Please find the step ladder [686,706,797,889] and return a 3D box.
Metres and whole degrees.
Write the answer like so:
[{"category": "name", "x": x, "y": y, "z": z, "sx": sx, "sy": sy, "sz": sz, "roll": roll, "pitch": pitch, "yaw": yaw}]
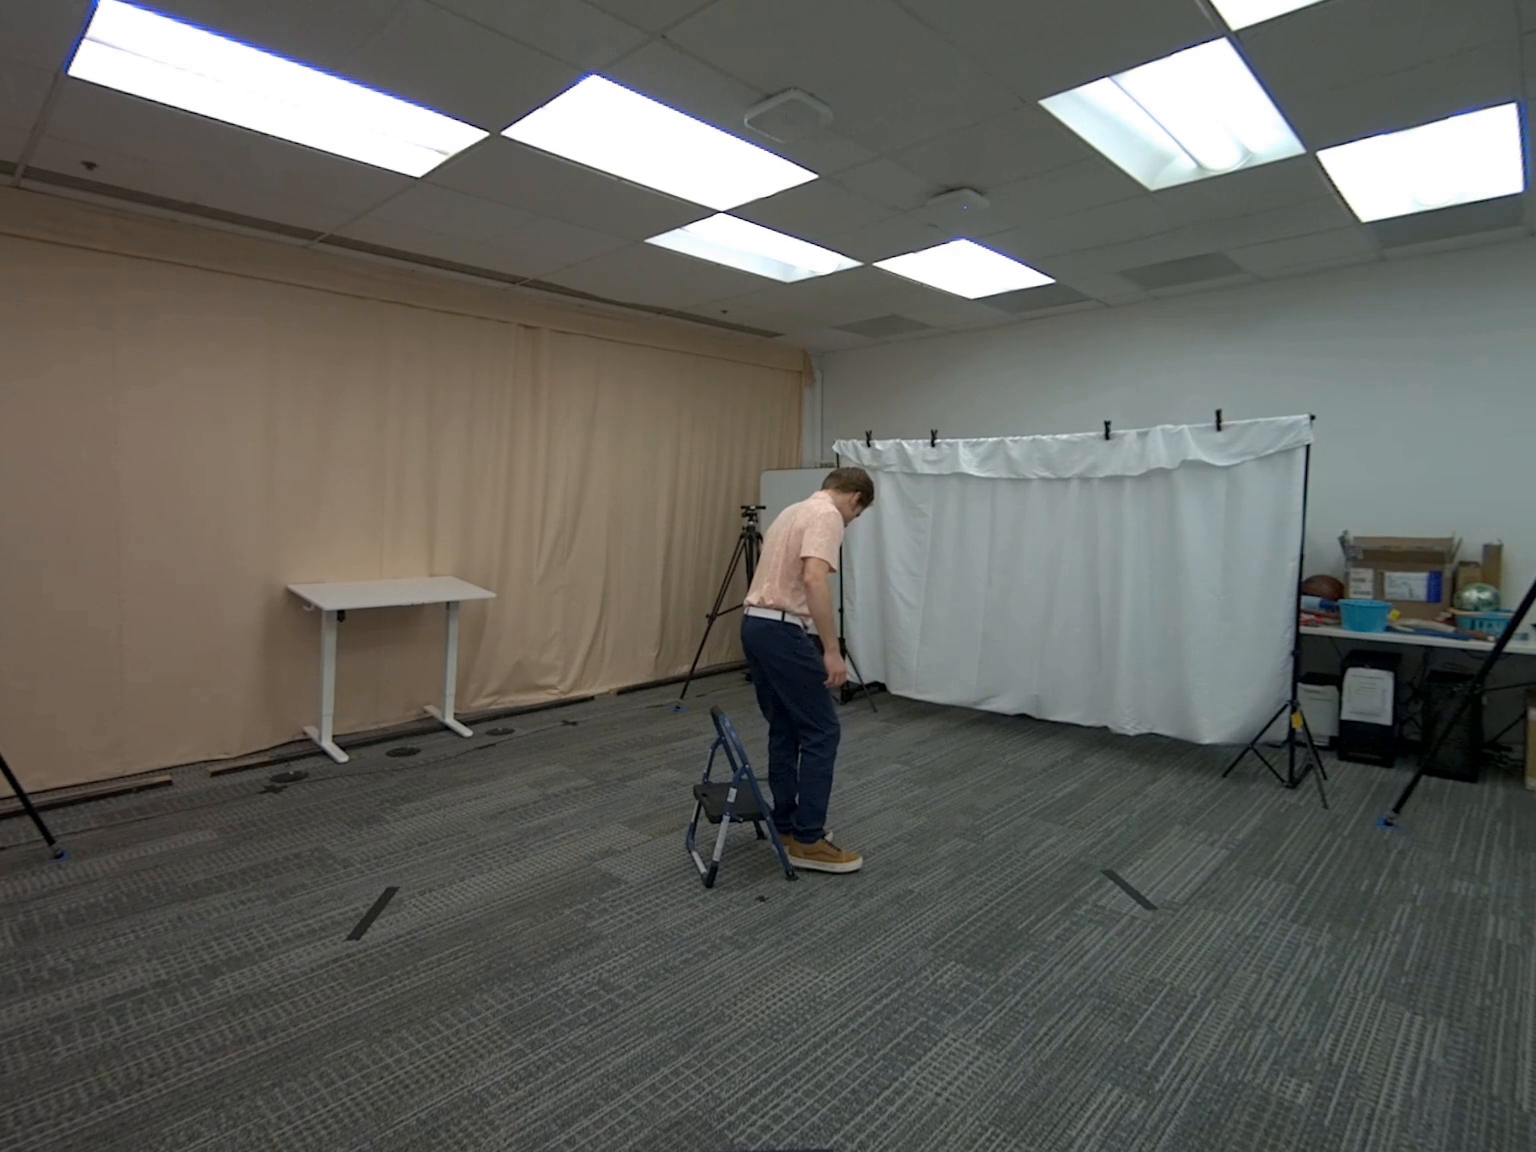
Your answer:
[{"category": "step ladder", "x": -0.116, "y": 0.822, "z": 3.285, "sx": 0.344, "sy": 0.605, "sz": 0.438, "roll": -1, "pitch": 3, "yaw": -16}]
